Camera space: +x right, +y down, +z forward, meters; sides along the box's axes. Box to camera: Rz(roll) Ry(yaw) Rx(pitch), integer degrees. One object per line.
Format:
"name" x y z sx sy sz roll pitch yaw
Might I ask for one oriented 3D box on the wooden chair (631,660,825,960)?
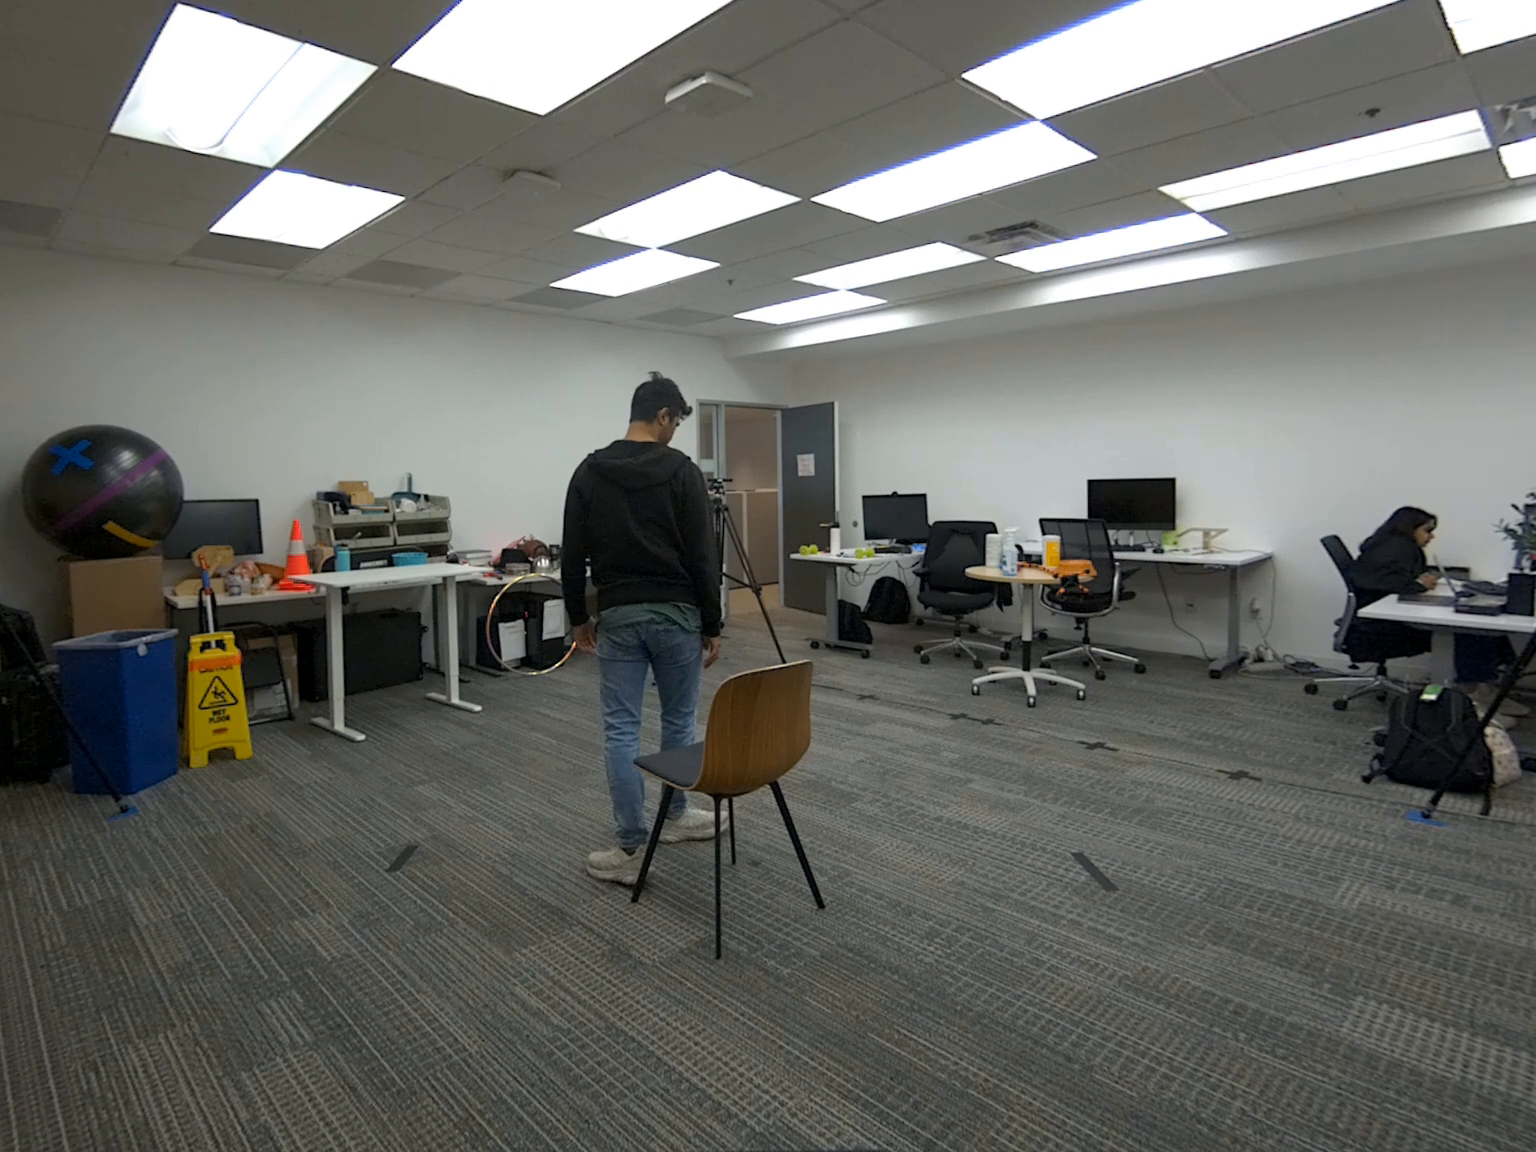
"wooden chair" -0.138 0.659 2.776 0.466 0.871 0.540 -5 10 -41
